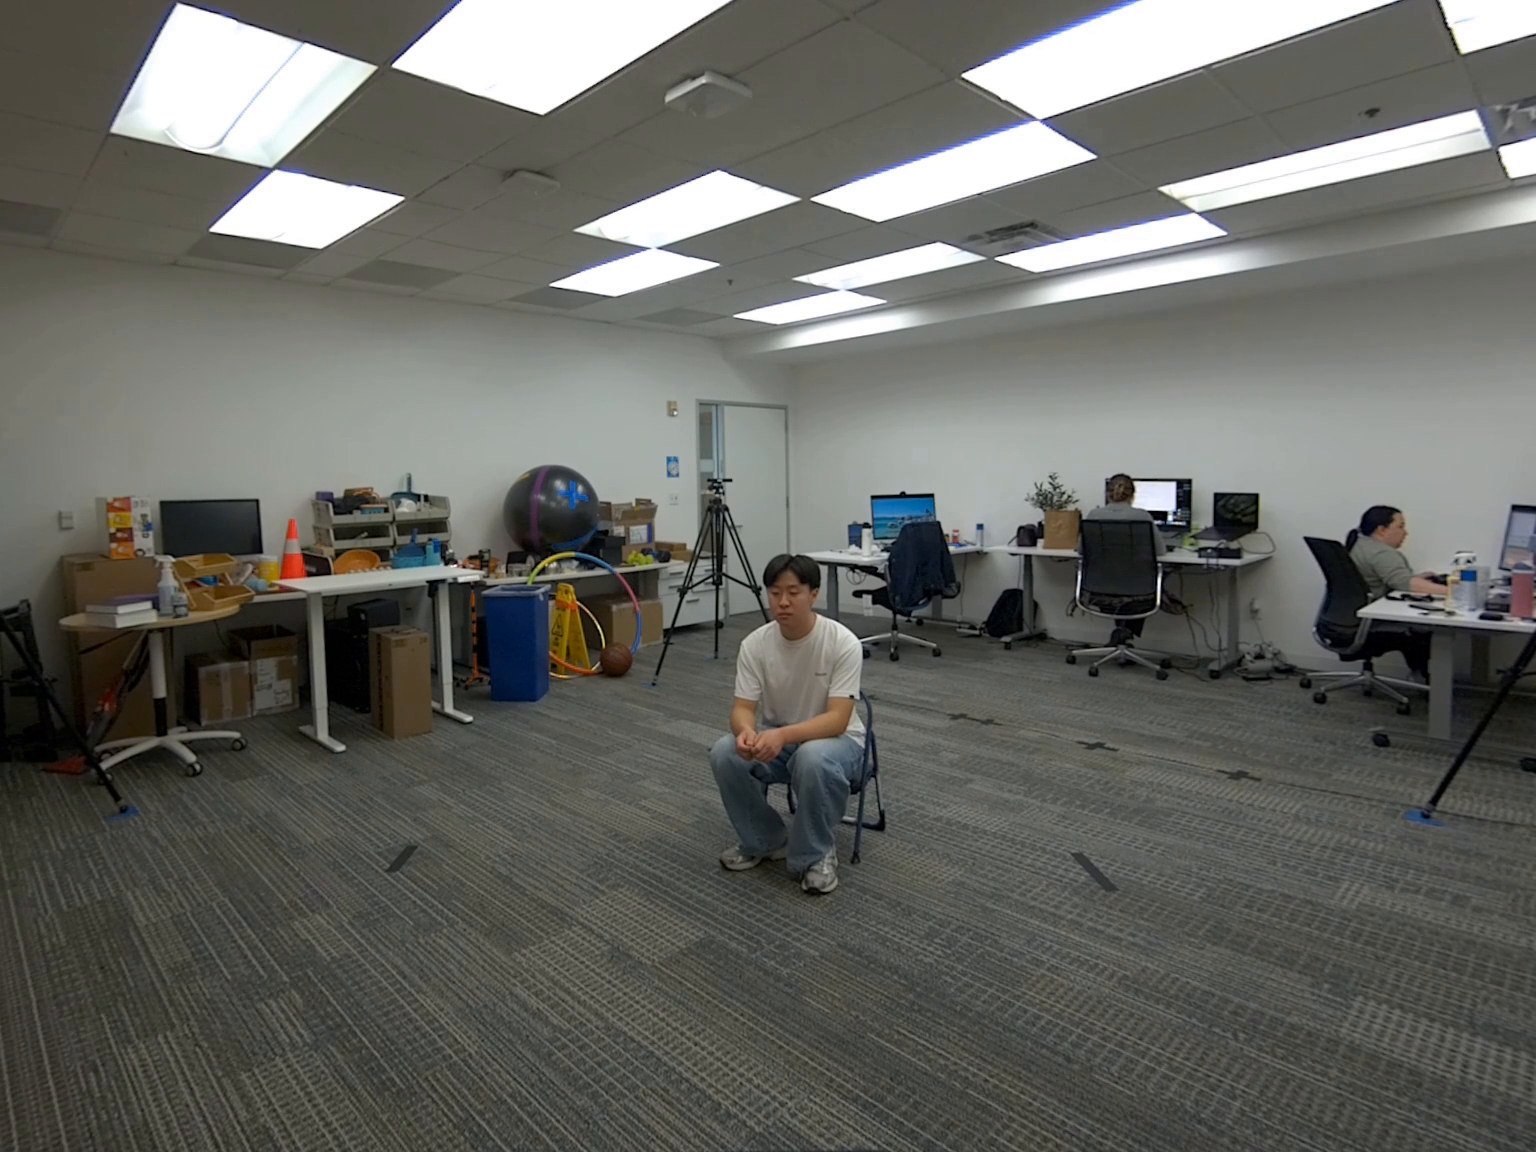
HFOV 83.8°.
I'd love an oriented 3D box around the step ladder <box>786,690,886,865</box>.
[{"bbox_3d":[0.213,0.717,3.327,0.442,0.604,0.342,2,5,28],"label":"step ladder"}]
